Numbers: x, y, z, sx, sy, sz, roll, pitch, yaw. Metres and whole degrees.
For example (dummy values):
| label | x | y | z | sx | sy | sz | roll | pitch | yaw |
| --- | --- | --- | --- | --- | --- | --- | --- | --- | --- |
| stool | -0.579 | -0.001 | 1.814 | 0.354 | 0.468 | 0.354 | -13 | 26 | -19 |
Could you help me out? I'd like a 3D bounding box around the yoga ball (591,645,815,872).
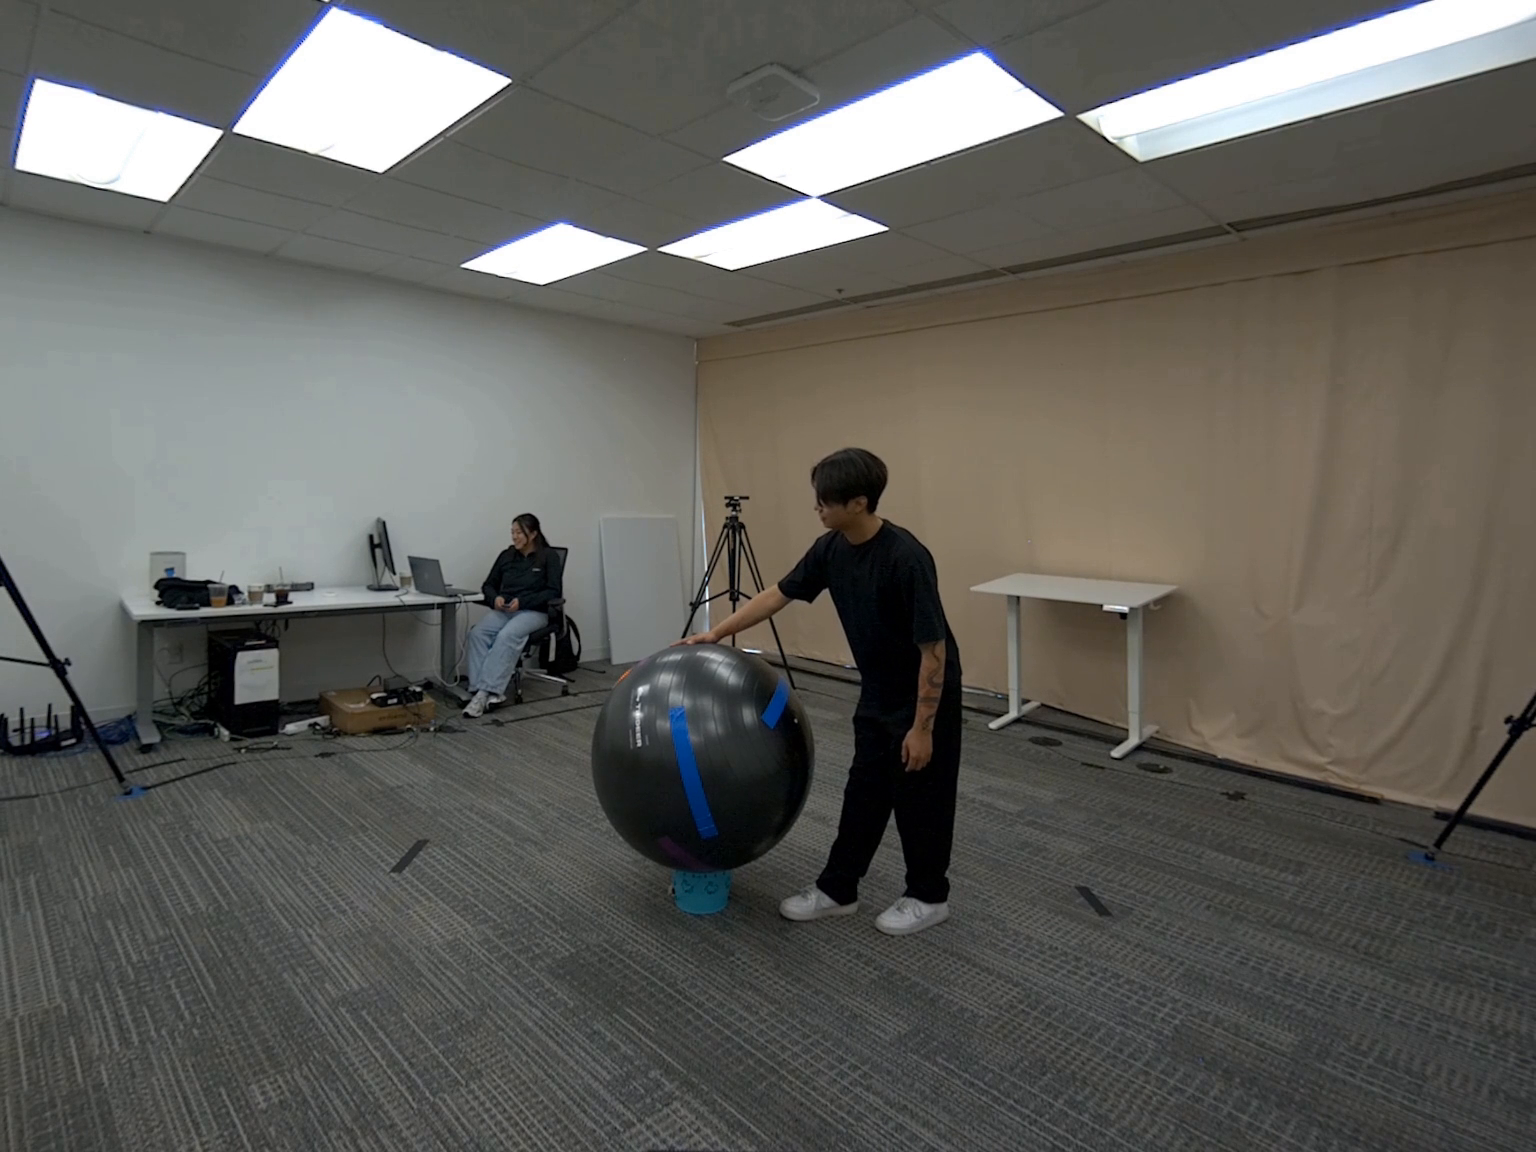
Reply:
| label | x | y | z | sx | sy | sz | roll | pitch | yaw |
| --- | --- | --- | --- | --- | --- | --- | --- | --- | --- |
| yoga ball | -0.233 | 0.613 | 2.879 | 0.757 | 0.756 | 0.761 | 1 | 4 | -1 |
